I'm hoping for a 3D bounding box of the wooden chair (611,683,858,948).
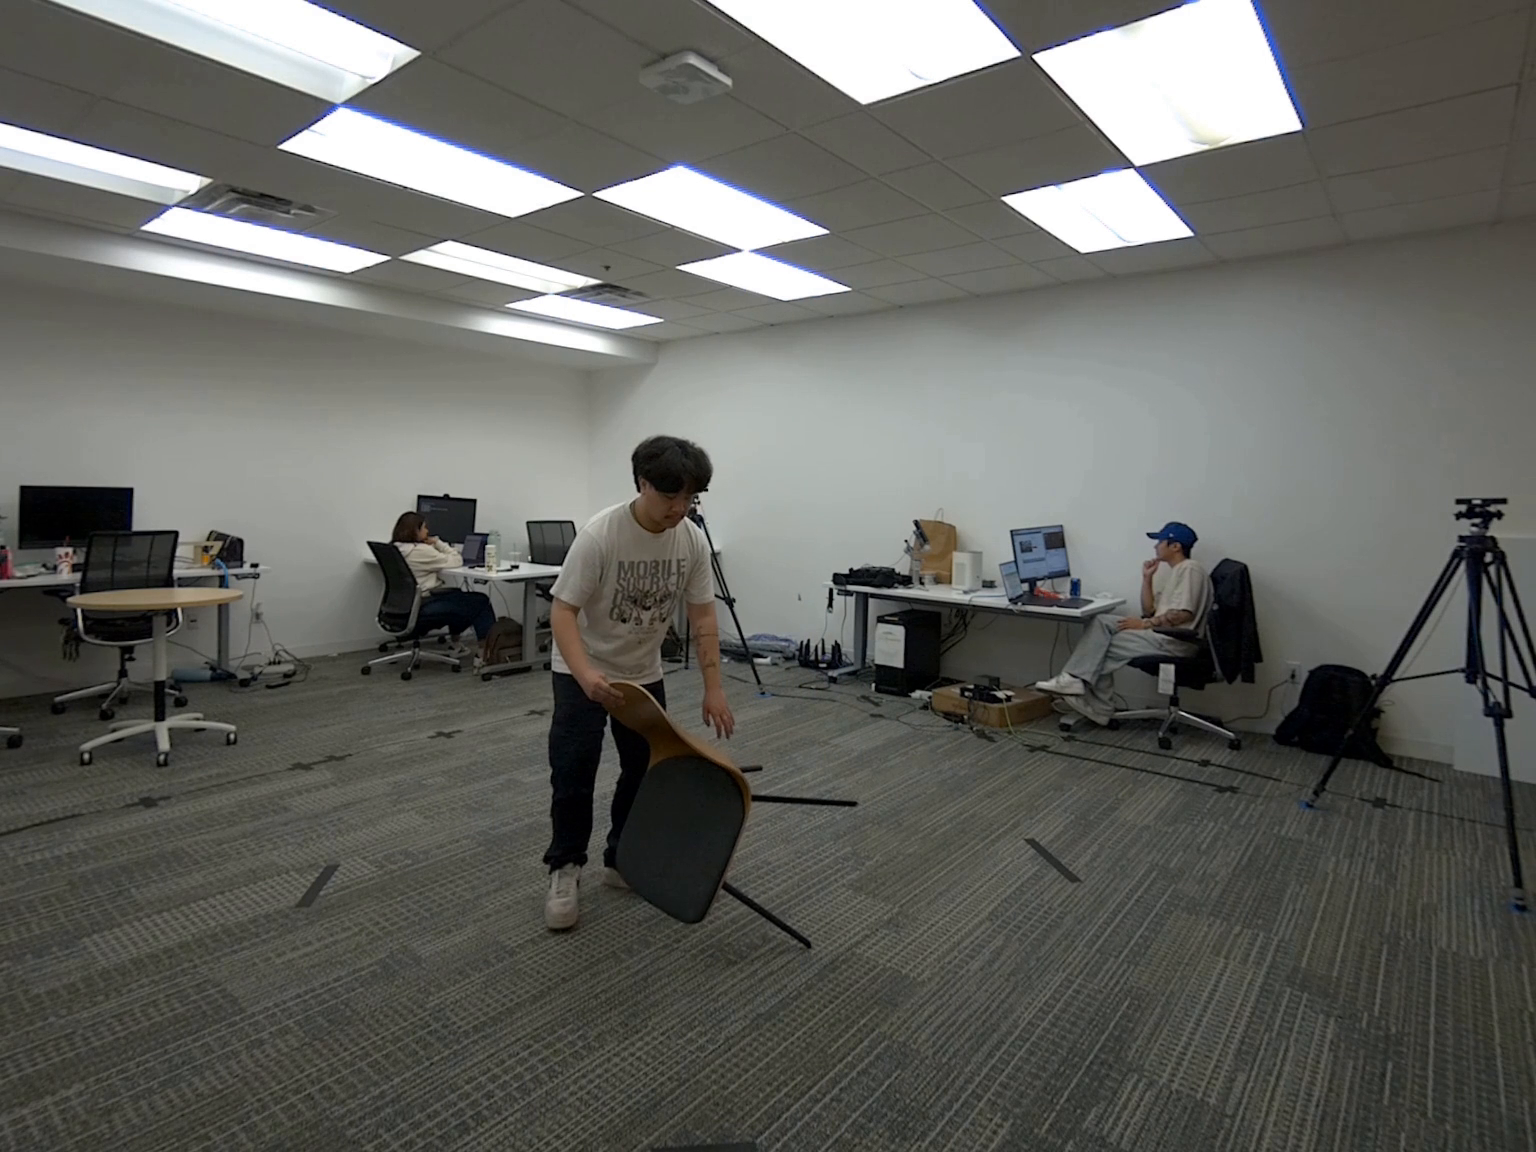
[{"bbox_3d":[-0.226,0.734,2.551,0.495,0.526,0.841,8,-24,47],"label":"wooden chair"}]
